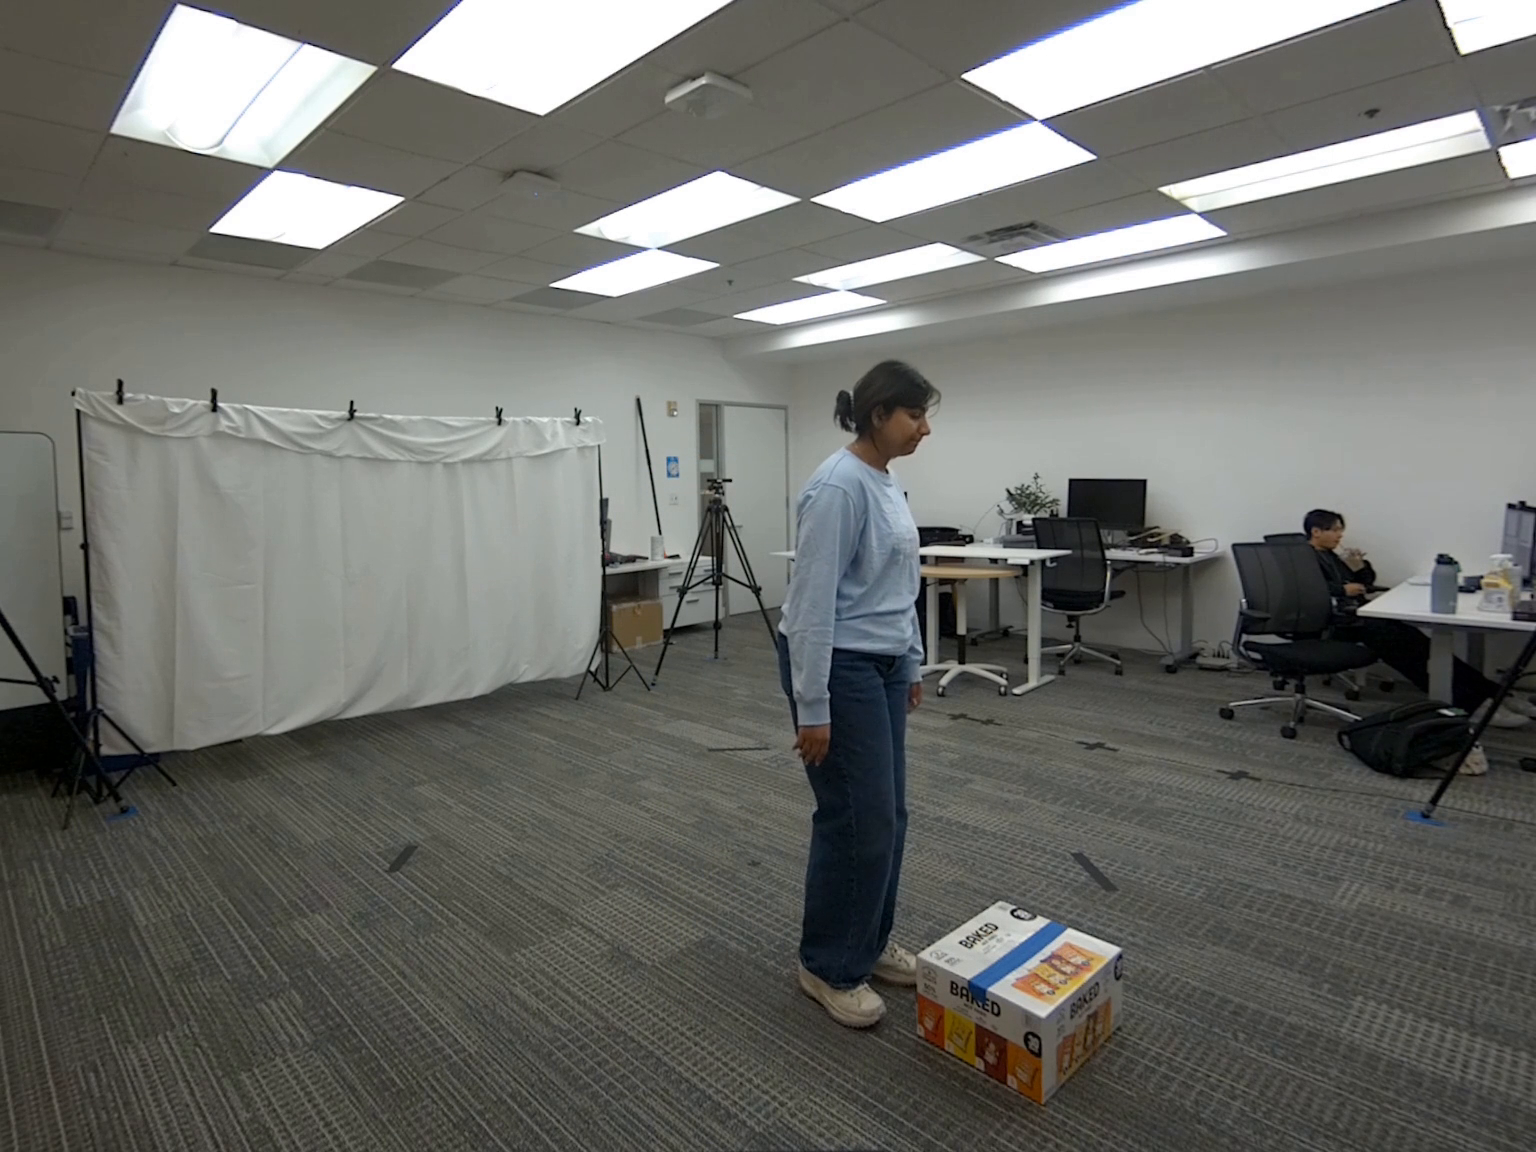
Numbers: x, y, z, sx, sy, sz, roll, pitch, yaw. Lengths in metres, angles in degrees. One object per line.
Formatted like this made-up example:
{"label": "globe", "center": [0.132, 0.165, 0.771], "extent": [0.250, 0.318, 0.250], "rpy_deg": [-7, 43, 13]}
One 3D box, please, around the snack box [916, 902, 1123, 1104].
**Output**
{"label": "snack box", "center": [0.636, 1.042, 2.140], "extent": [0.395, 0.205, 0.351], "rpy_deg": [-7, 9, -43]}
